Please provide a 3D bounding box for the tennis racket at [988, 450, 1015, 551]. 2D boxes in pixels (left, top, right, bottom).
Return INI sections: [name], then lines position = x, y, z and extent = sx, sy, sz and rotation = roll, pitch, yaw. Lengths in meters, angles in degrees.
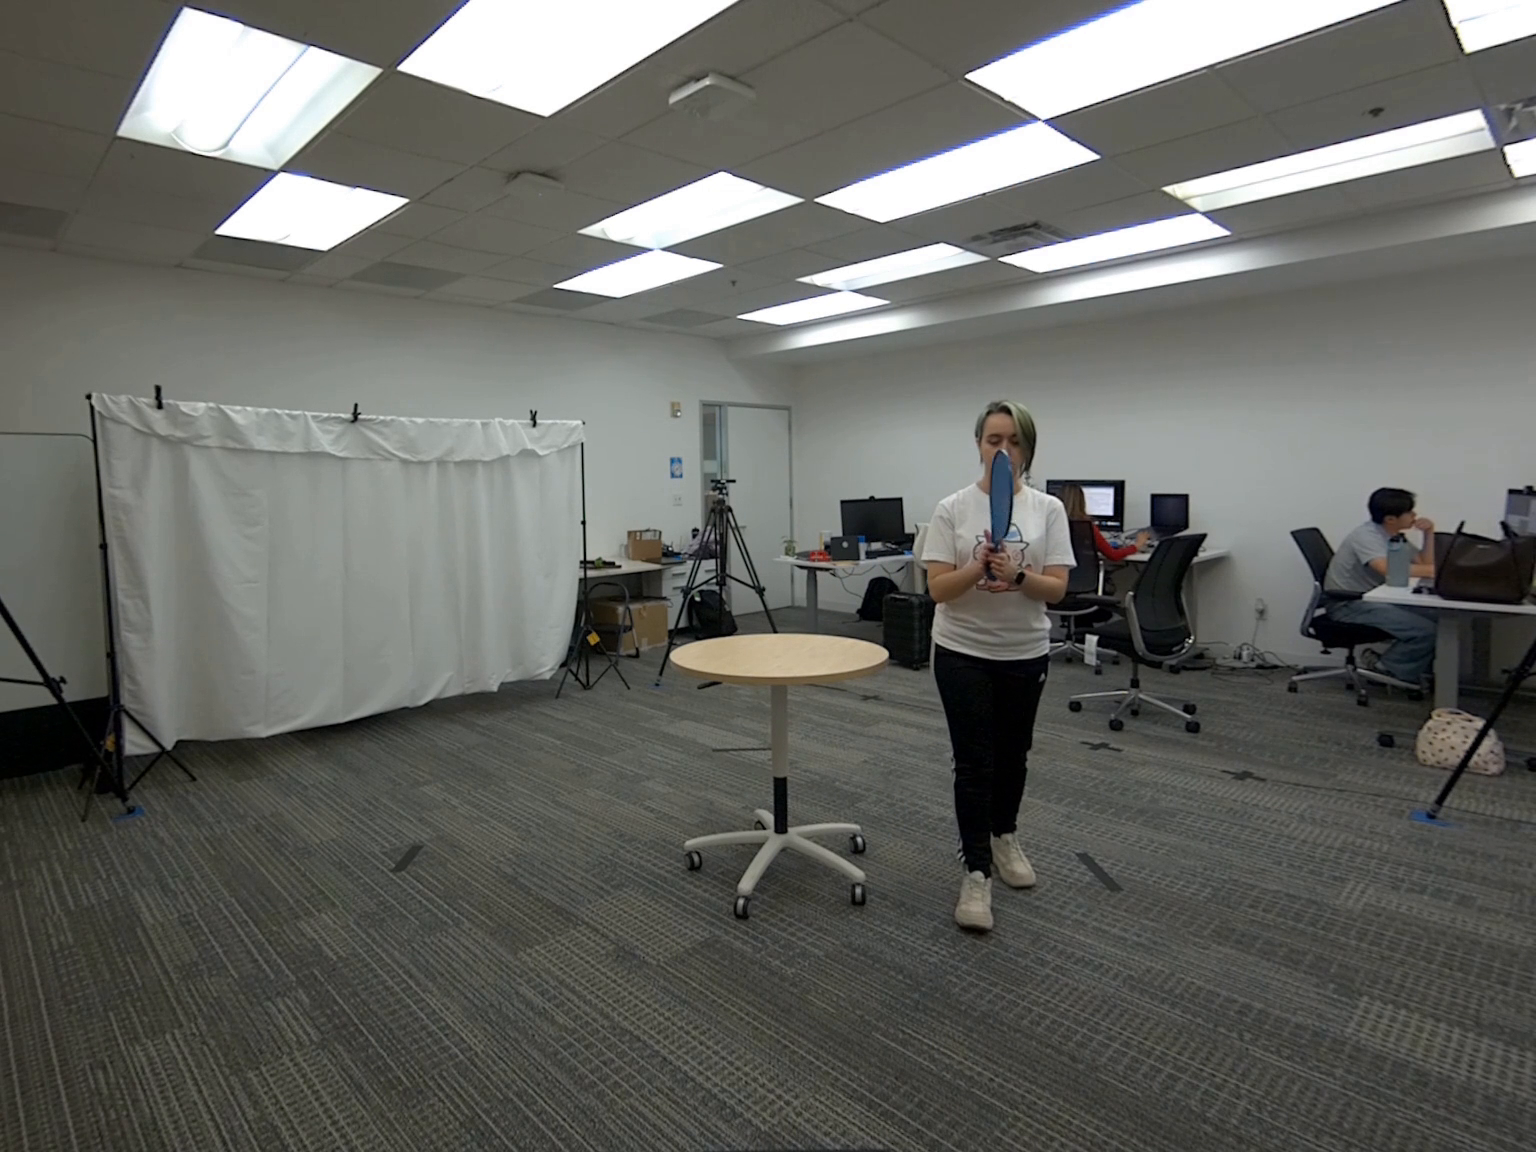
[tennis racket]
position = 0.653, -0.169, 2.438
extent = 0.032, 0.420, 0.219
rotation = -2, 42, 4
